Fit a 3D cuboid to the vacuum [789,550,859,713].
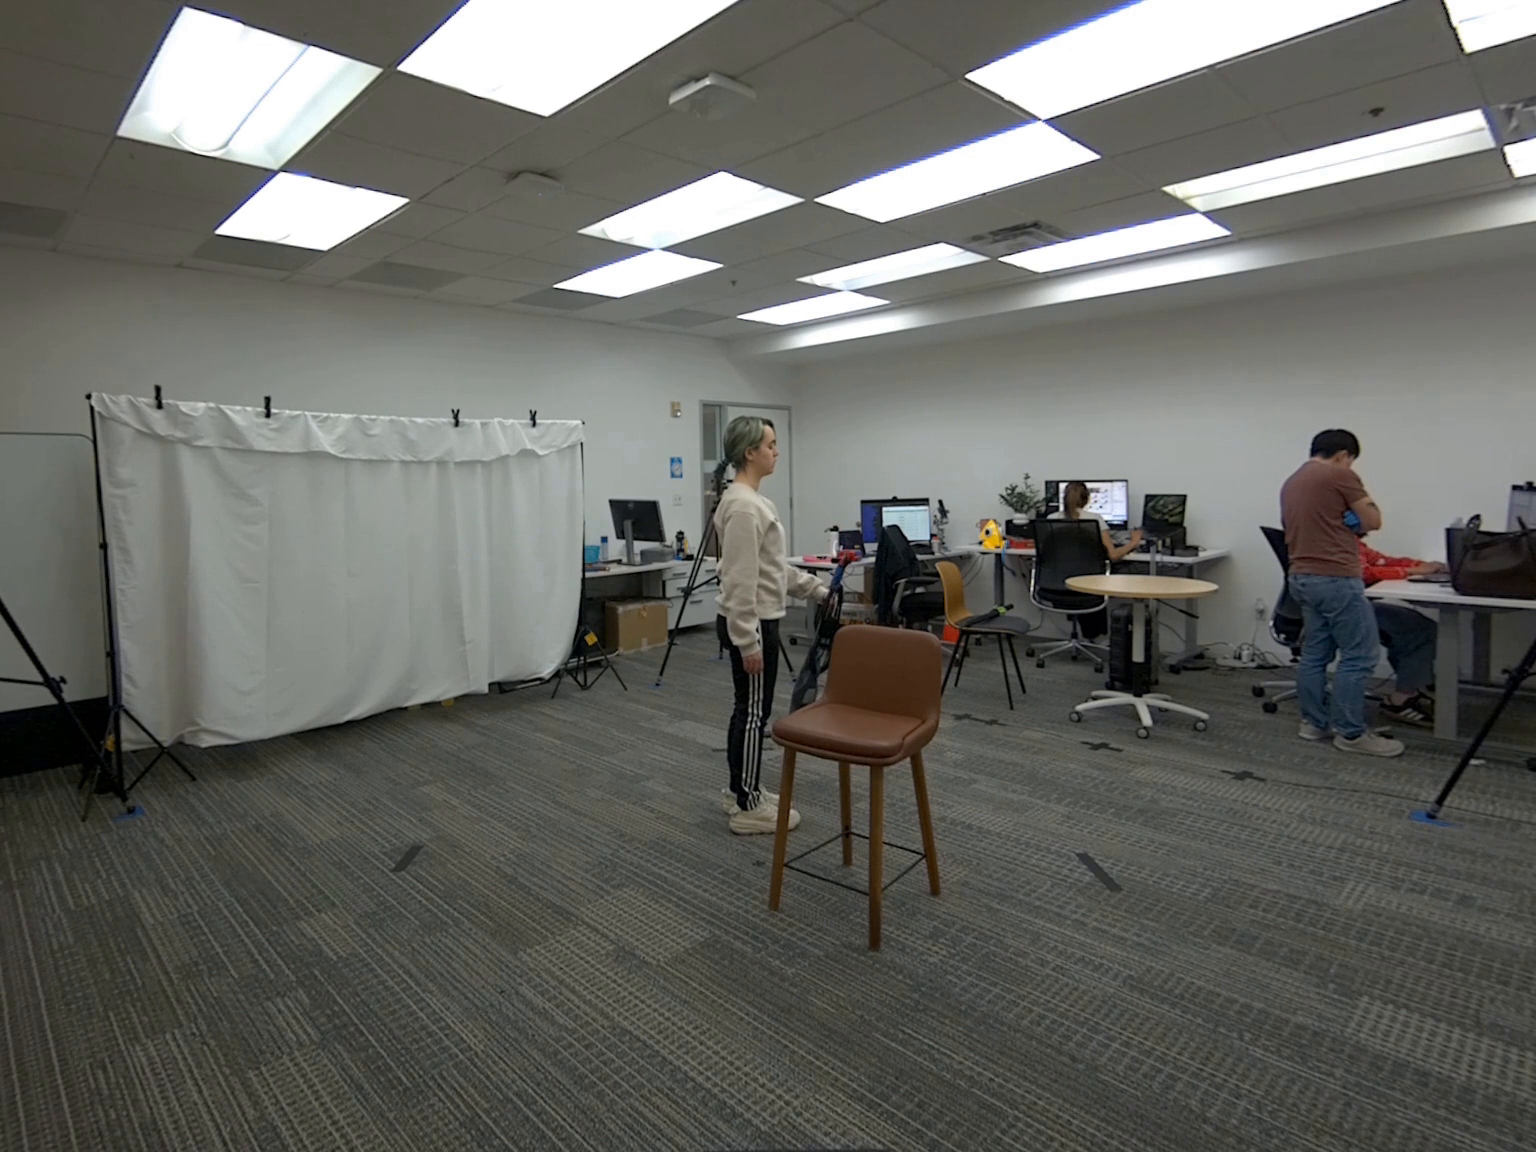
[{"bbox_3d":[0.220,0.331,3.645,0.247,1.032,0.149,2,34,-22],"label":"vacuum"}]
